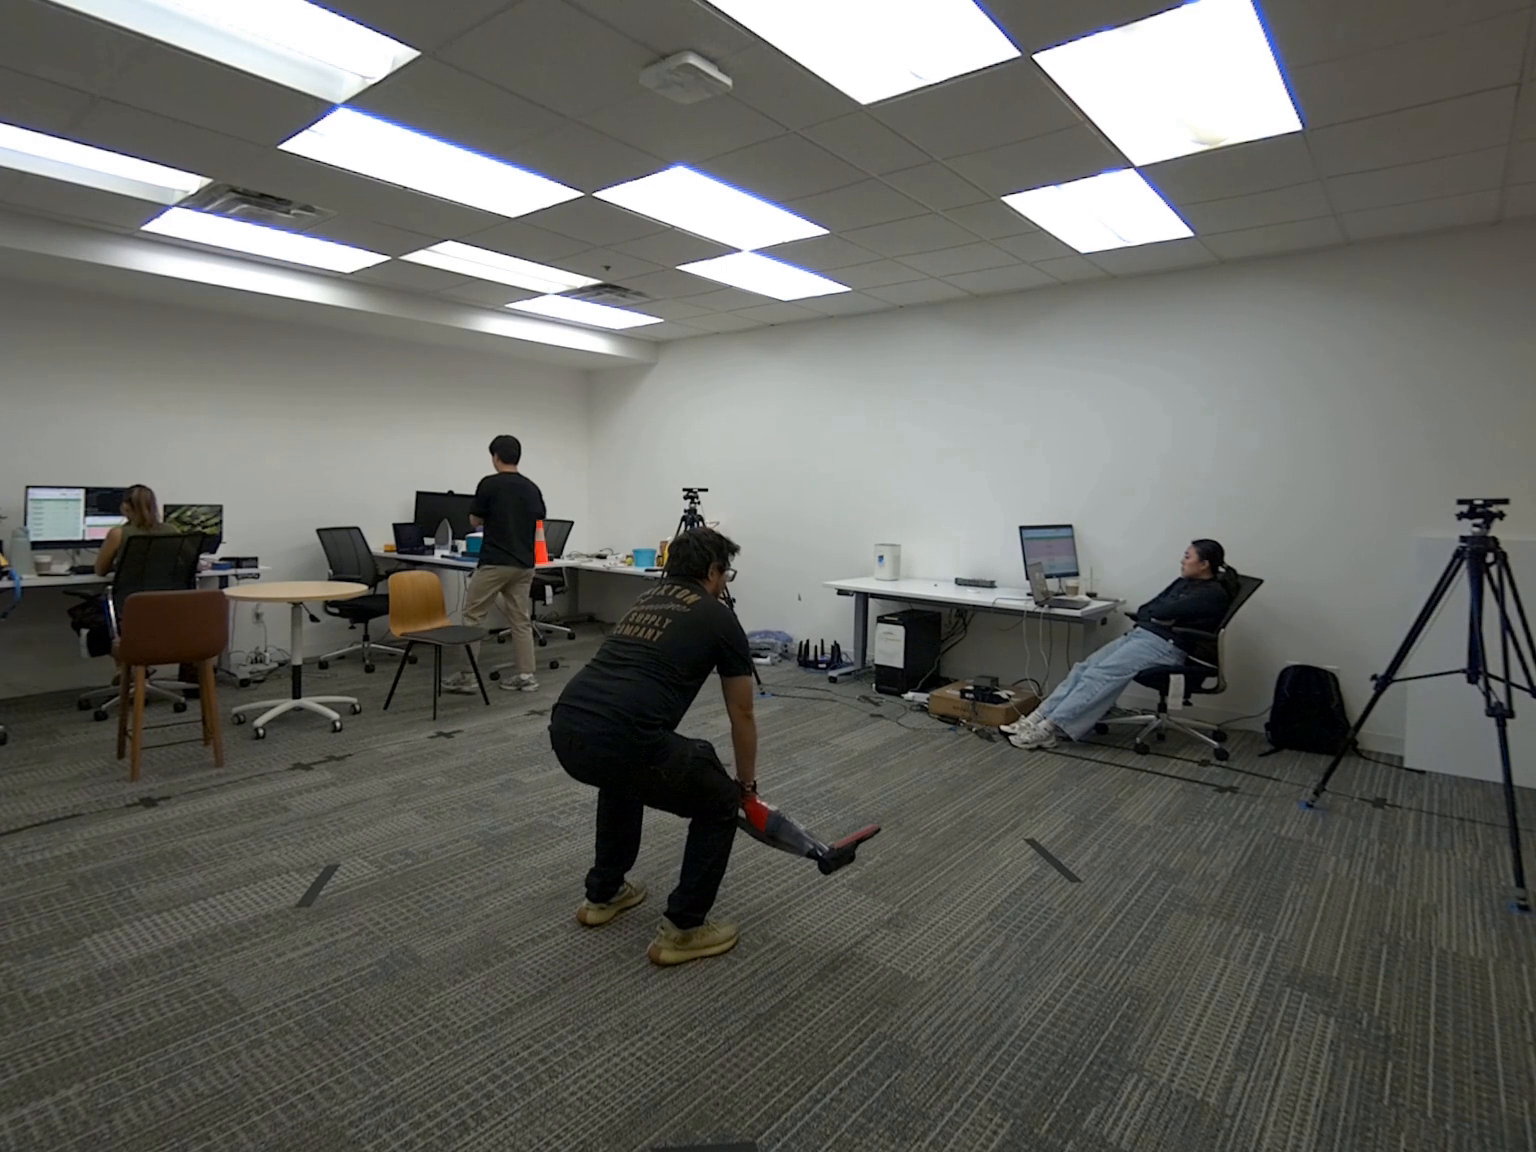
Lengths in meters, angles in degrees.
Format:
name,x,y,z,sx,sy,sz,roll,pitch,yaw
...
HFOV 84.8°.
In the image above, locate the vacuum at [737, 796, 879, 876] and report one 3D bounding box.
name,x,y,z,sx,sy,sz,roll,pitch,yaw
vacuum,-0.171,0.765,2.883,1.086,0.143,0.245,7,7,41
